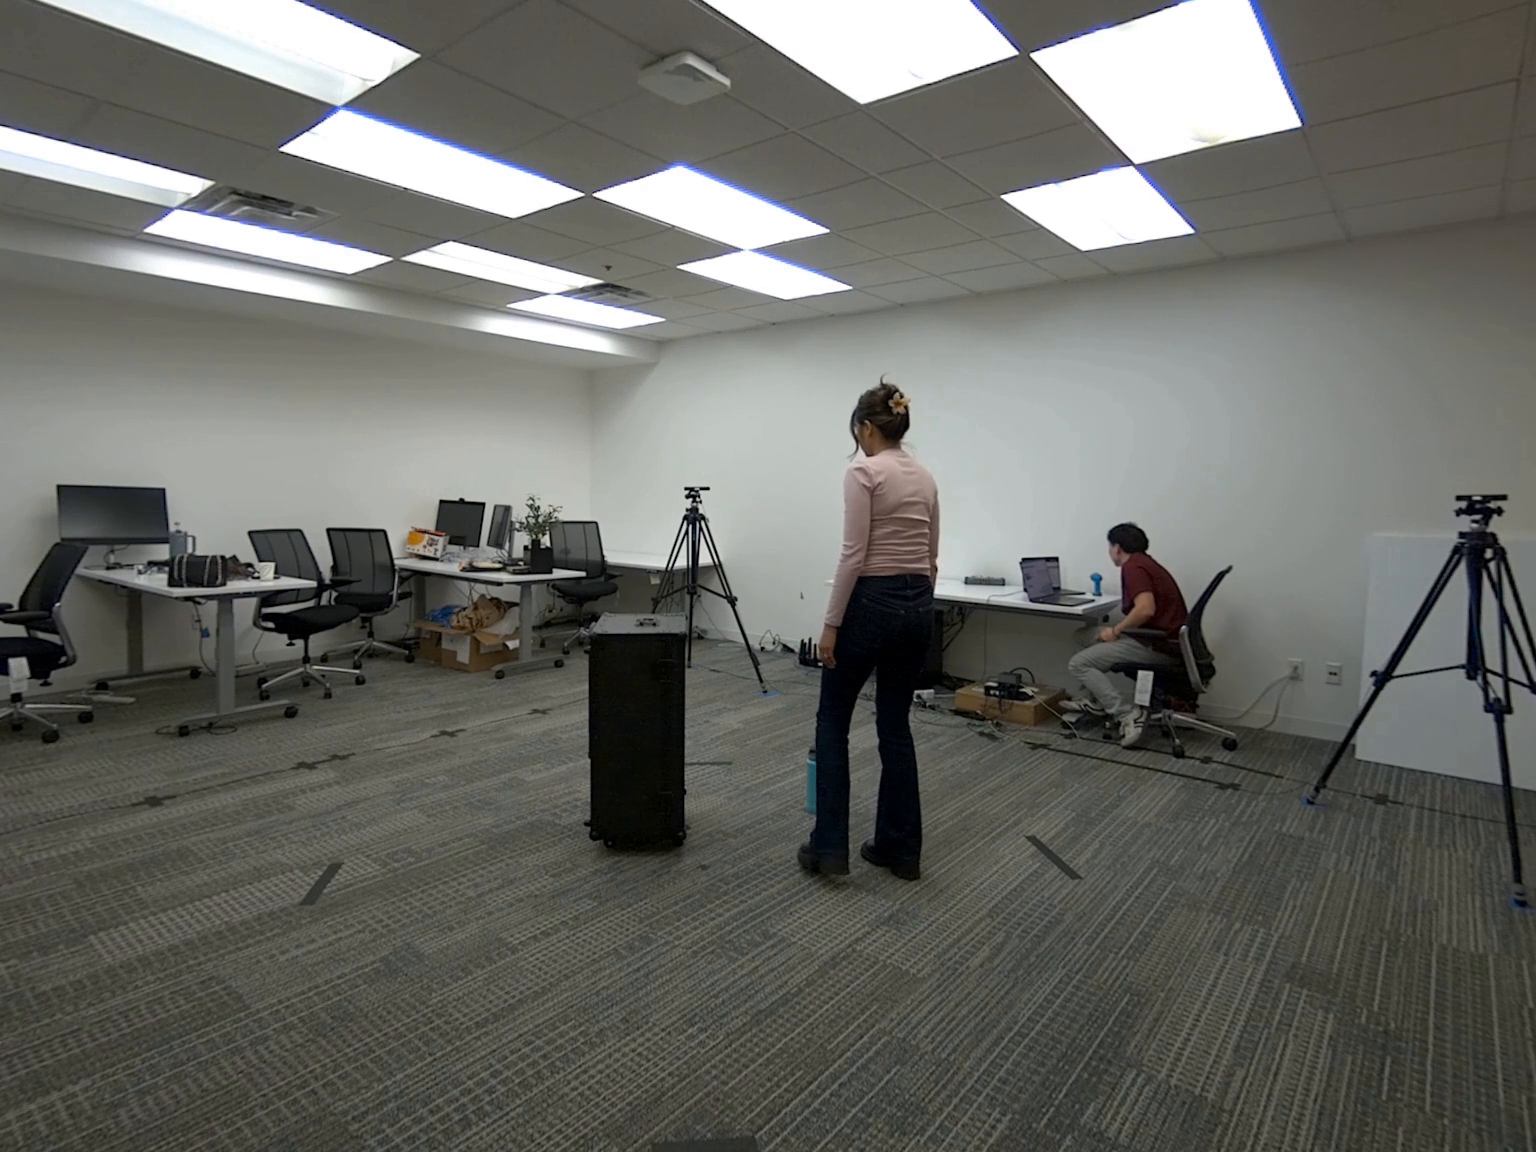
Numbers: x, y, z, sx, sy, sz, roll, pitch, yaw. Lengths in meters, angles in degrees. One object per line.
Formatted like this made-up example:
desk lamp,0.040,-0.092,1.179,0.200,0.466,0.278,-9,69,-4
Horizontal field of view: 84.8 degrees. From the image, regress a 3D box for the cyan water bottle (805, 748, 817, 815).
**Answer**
cyan water bottle,0.198,0.876,3.681,0.092,0.282,0.093,2,4,-2
